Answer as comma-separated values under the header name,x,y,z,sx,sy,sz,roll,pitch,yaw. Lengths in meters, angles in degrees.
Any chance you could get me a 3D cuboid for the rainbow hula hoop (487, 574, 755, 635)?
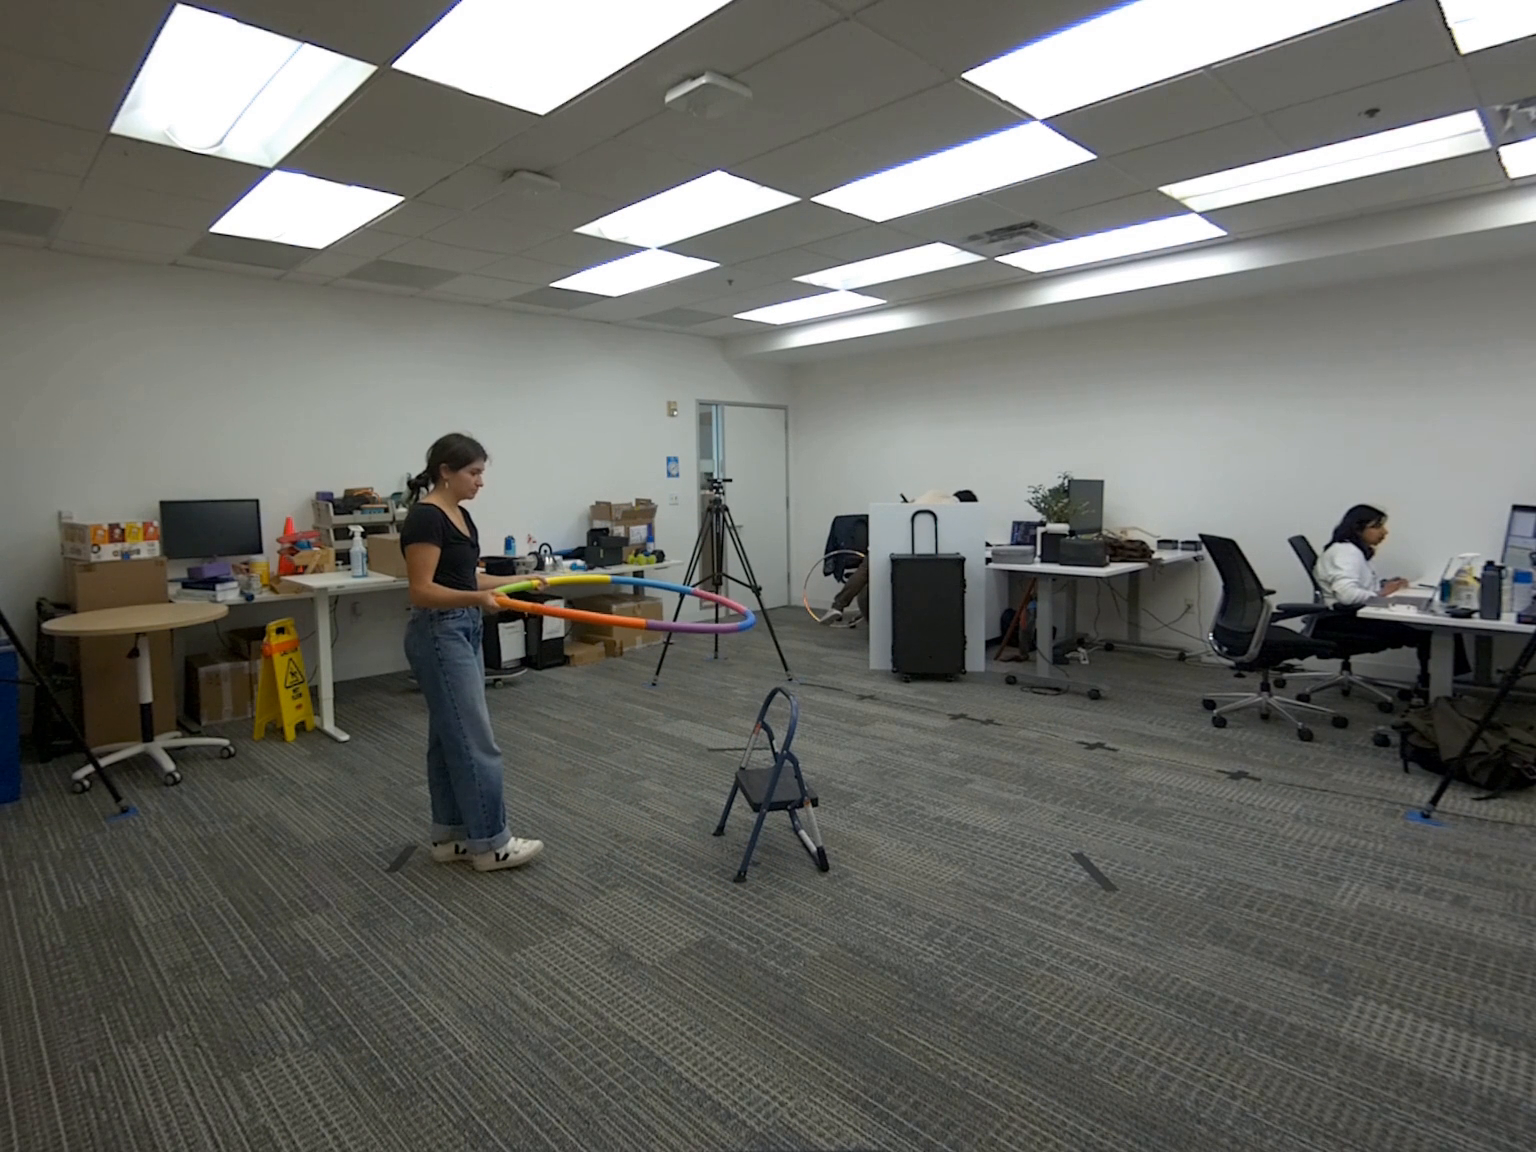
name,x,y,z,sx,sy,sz,roll,pitch,yaw
rainbow hula hoop,-0.530,0.086,3.177,0.977,0.035,0.985,5,7,-2
